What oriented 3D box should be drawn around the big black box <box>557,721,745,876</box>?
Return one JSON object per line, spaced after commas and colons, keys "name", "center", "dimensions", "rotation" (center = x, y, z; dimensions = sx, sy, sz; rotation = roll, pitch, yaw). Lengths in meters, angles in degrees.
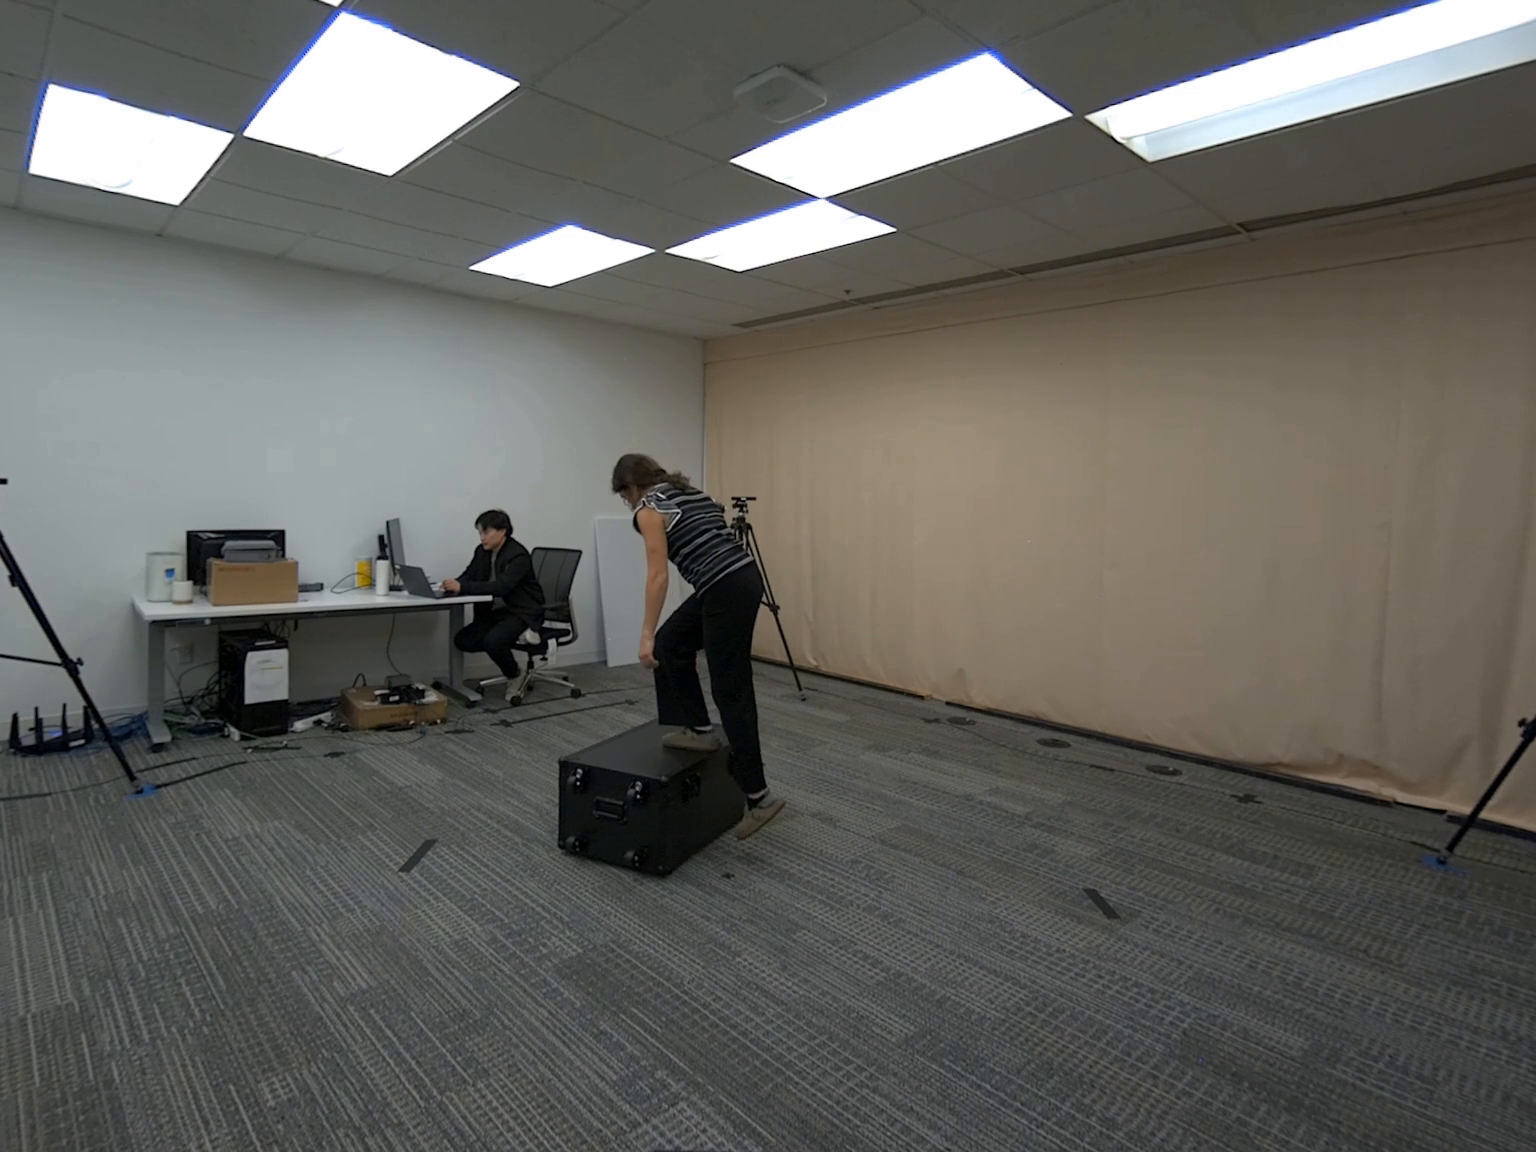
{"name": "big black box", "center": [-0.458, 0.879, 3.458], "dimensions": [0.531, 0.395, 0.847], "rotation": [4, 5, 24]}
